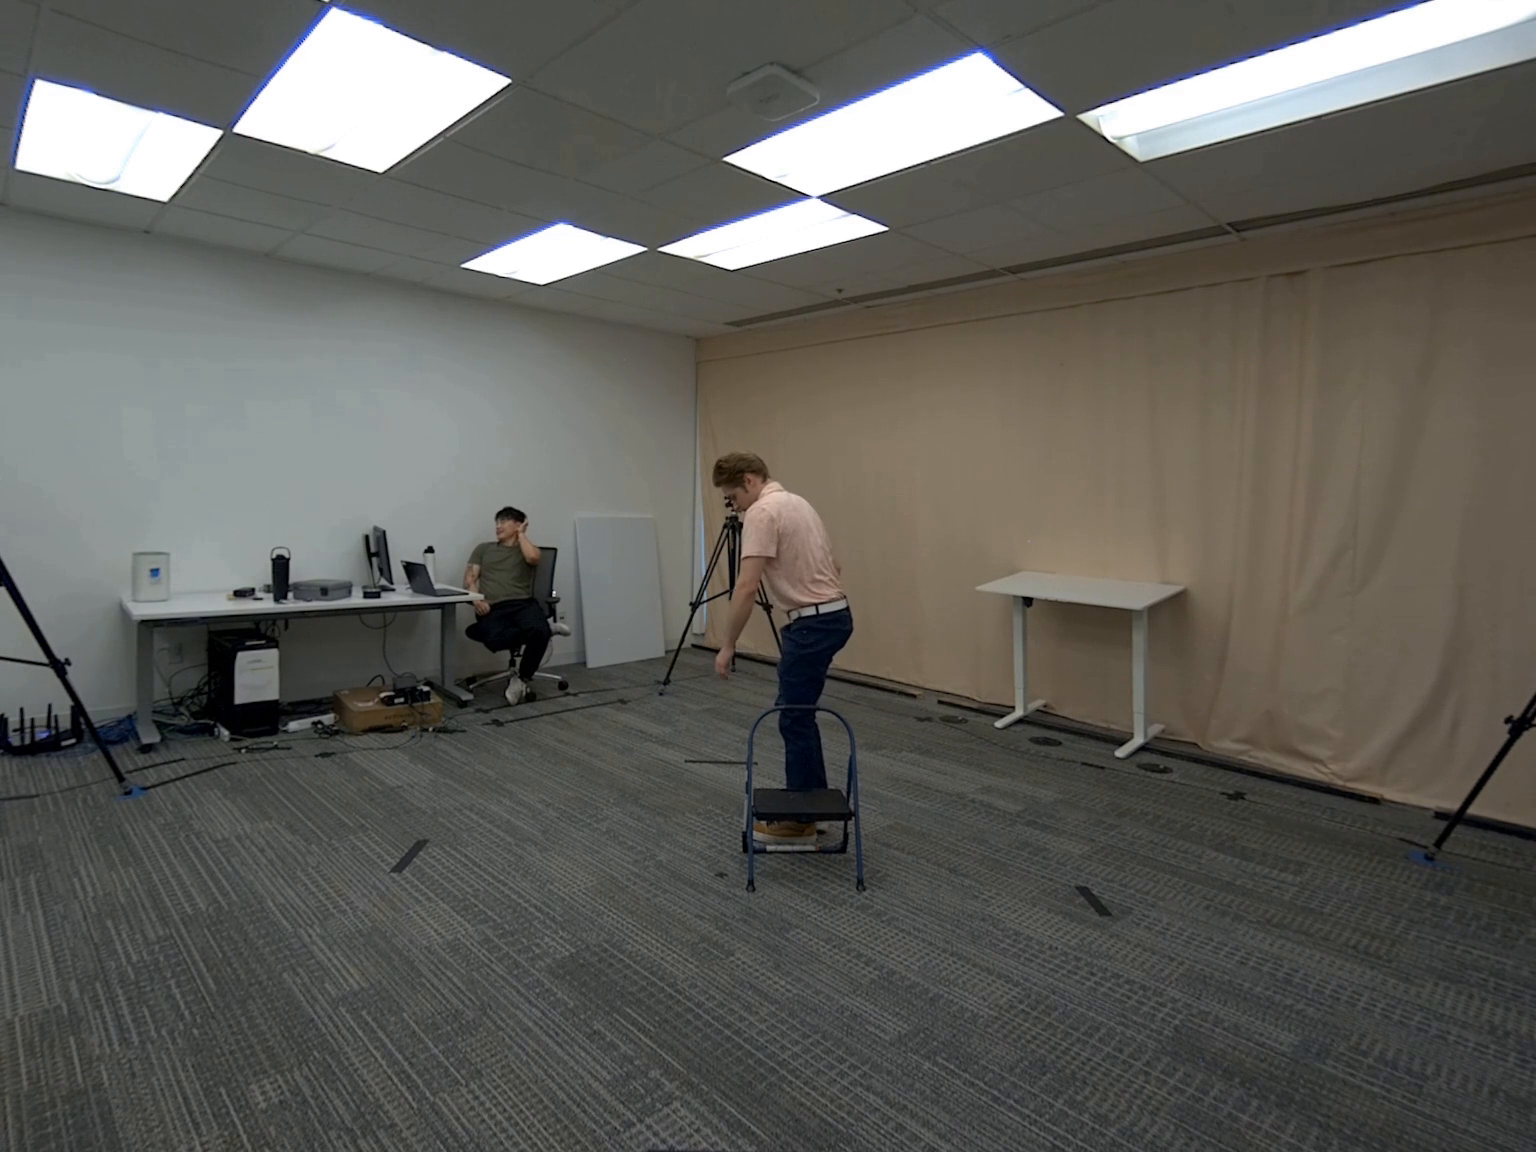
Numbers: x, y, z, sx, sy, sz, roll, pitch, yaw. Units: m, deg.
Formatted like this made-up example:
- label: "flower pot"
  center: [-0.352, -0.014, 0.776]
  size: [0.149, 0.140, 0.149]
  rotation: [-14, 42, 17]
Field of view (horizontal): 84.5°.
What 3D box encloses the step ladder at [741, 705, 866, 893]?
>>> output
- label: "step ladder"
  center: [0.122, 0.809, 3.145]
  size: [0.429, 0.604, 0.352]
  rotation: [2, 4, -5]
